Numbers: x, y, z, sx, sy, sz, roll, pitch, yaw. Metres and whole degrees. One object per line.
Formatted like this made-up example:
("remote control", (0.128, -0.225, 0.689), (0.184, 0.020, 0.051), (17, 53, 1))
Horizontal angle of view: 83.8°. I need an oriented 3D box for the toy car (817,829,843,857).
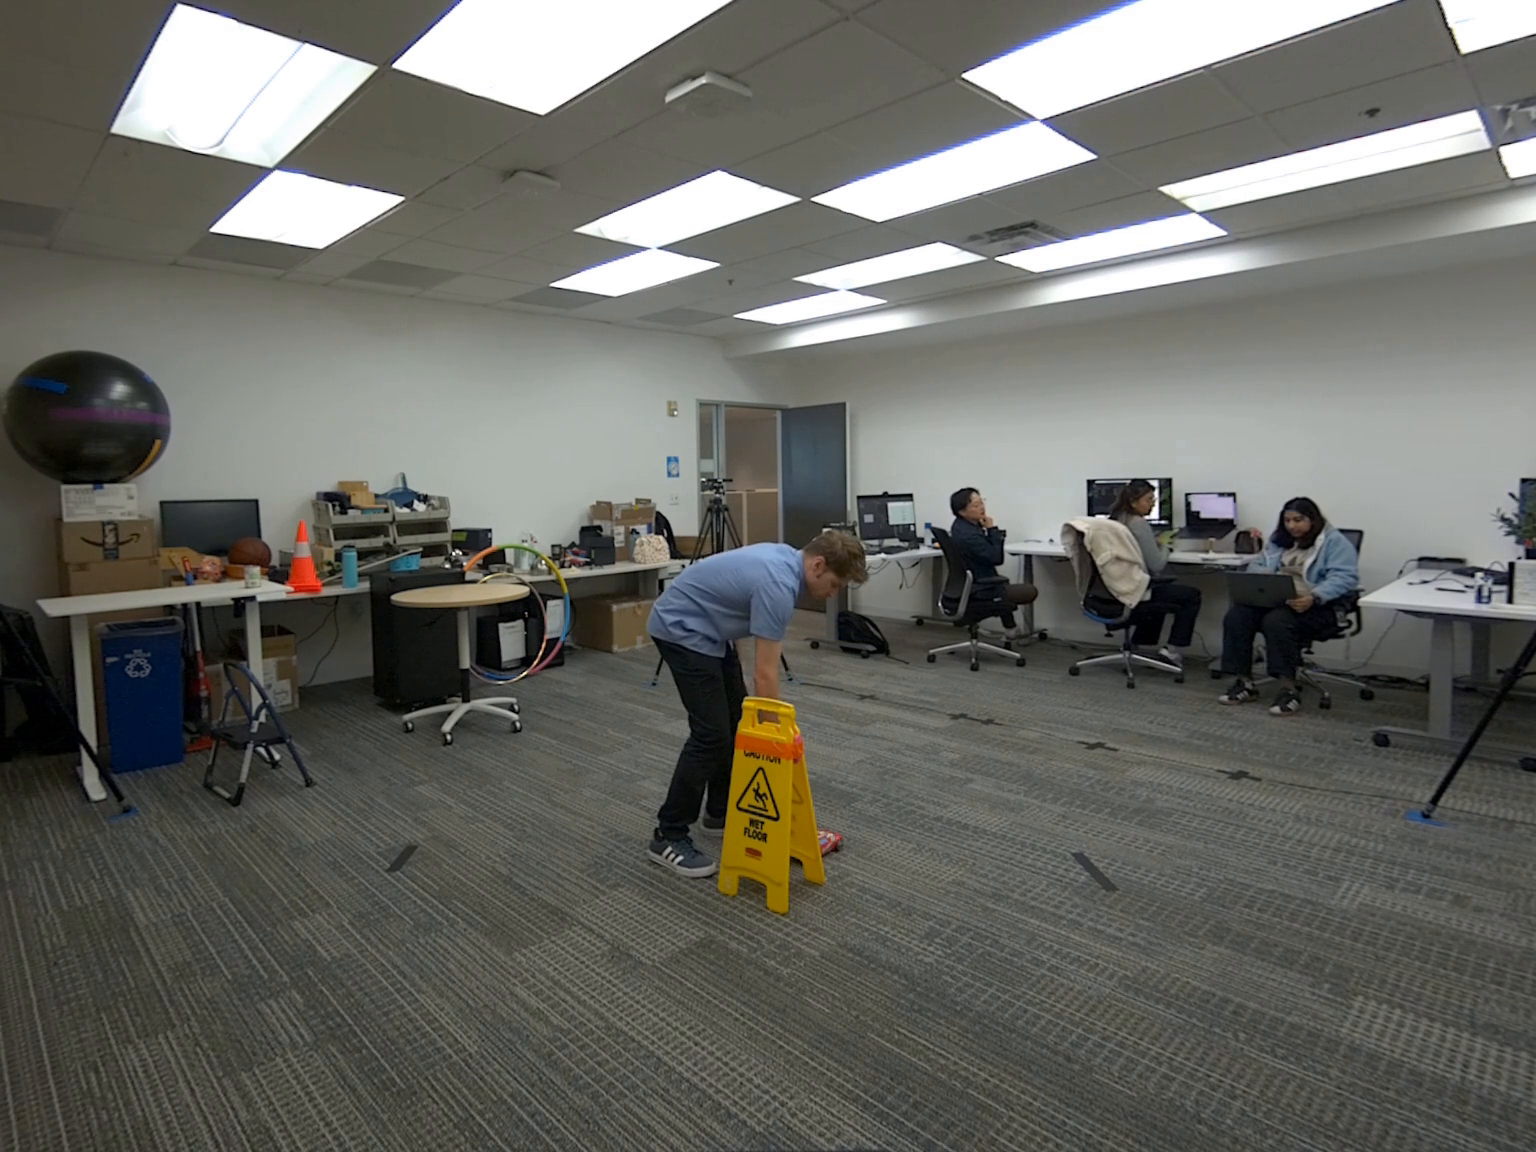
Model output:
("toy car", (0.174, 1.009, 3.170), (0.134, 0.083, 0.246), (7, 1, 41))
